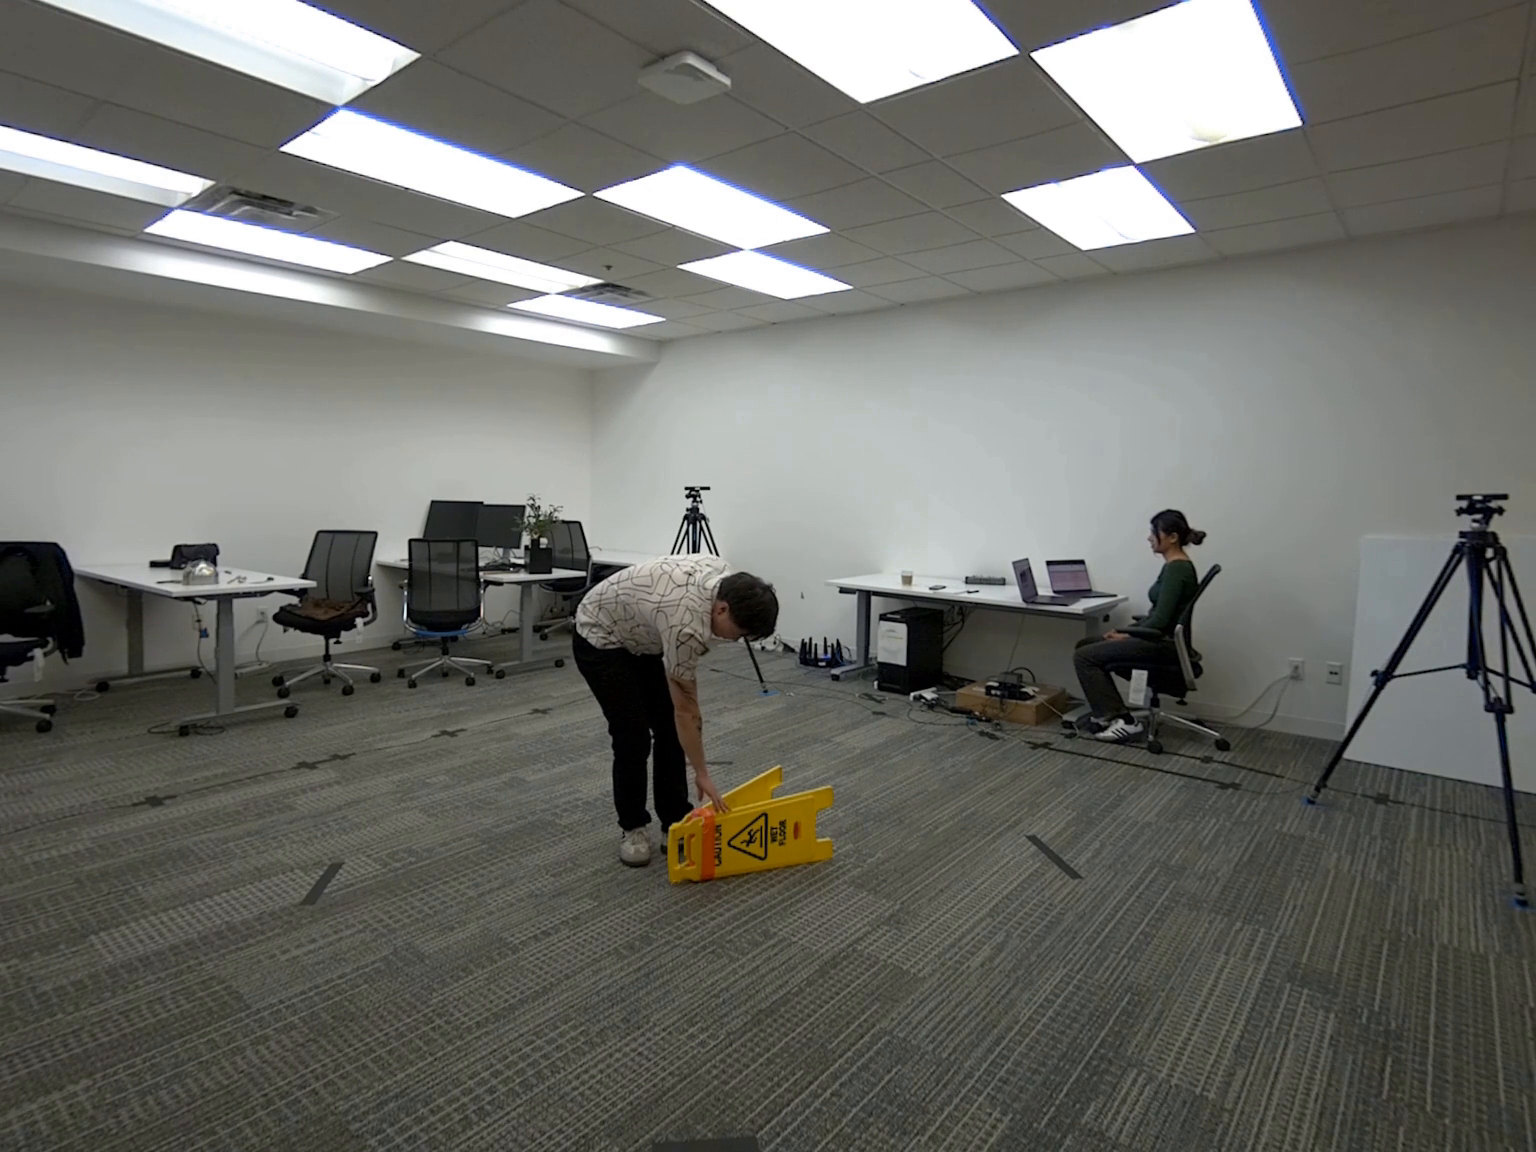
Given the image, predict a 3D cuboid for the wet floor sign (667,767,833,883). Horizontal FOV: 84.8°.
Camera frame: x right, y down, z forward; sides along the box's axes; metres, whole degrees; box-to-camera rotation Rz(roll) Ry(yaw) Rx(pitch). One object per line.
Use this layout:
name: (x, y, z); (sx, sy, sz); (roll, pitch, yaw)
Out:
wet floor sign: (-0.107, 0.933, 3.127); (0.628, 0.281, 0.299); (-6, 8, -39)
